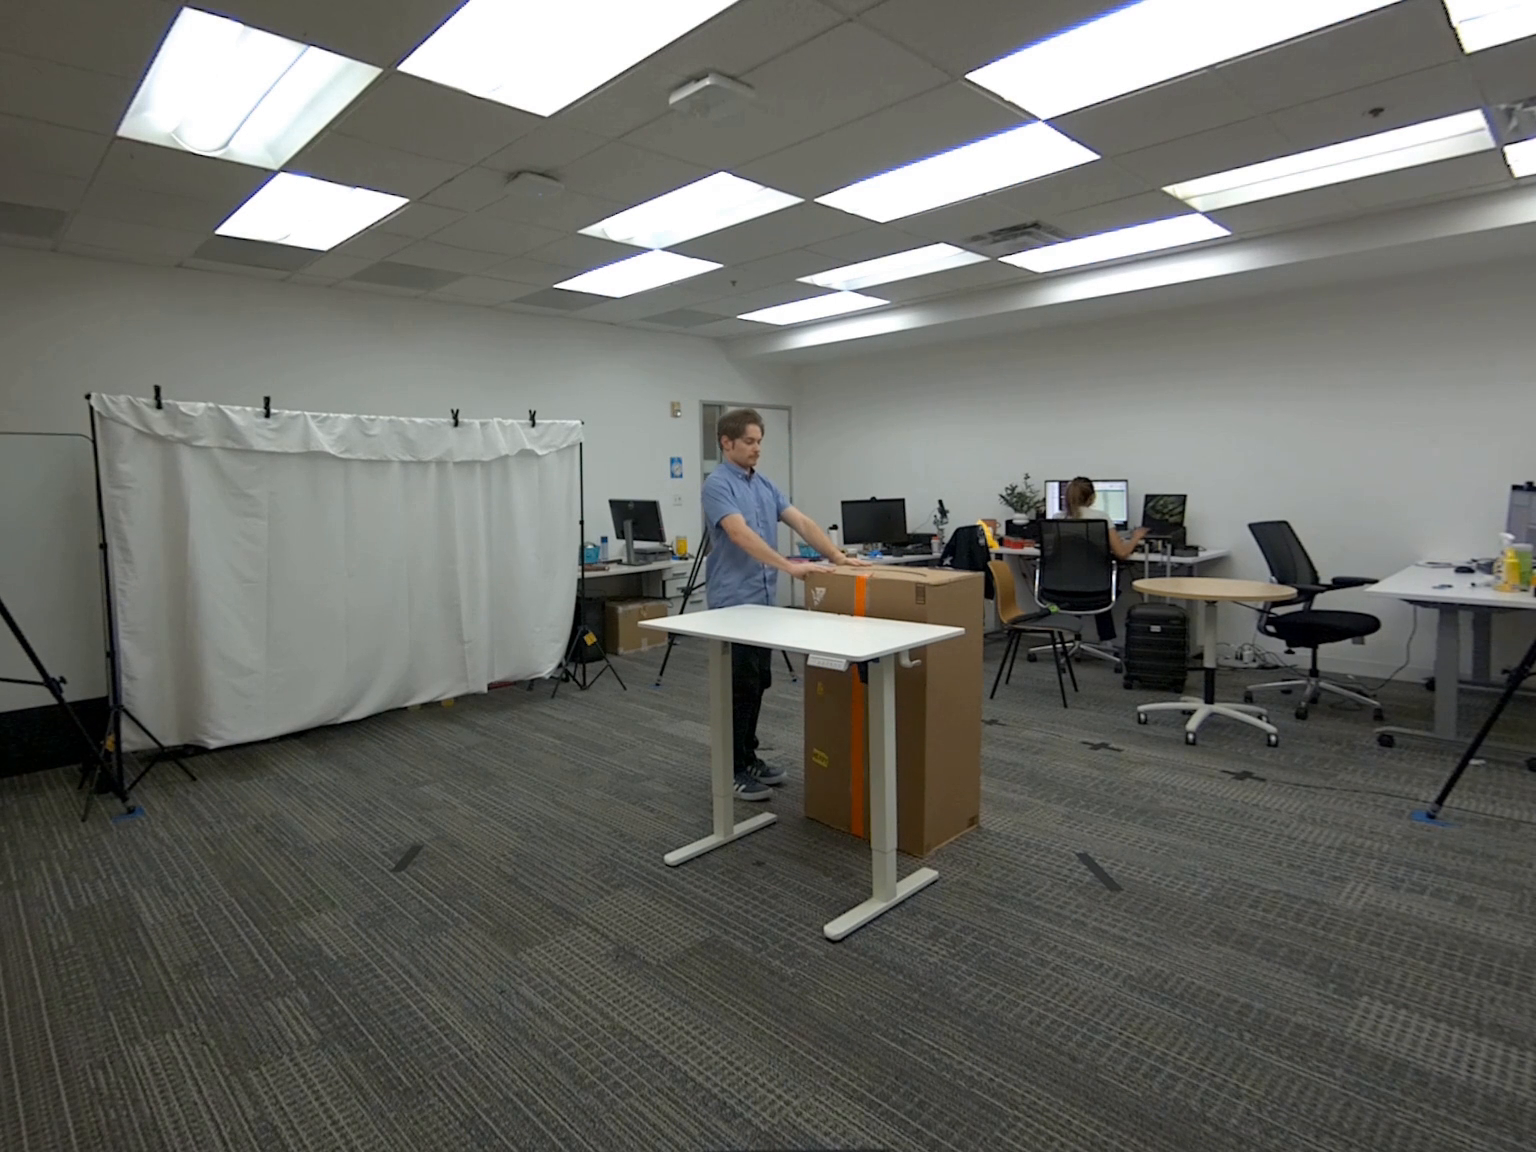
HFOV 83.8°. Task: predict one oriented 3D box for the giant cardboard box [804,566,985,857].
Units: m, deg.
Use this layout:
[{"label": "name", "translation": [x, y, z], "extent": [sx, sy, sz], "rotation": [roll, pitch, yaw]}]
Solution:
[{"label": "giant cardboard box", "translation": [0.495, 0.491, 3.438], "extent": [0.595, 1.022, 0.415], "rotation": [4, 6, 44]}]
